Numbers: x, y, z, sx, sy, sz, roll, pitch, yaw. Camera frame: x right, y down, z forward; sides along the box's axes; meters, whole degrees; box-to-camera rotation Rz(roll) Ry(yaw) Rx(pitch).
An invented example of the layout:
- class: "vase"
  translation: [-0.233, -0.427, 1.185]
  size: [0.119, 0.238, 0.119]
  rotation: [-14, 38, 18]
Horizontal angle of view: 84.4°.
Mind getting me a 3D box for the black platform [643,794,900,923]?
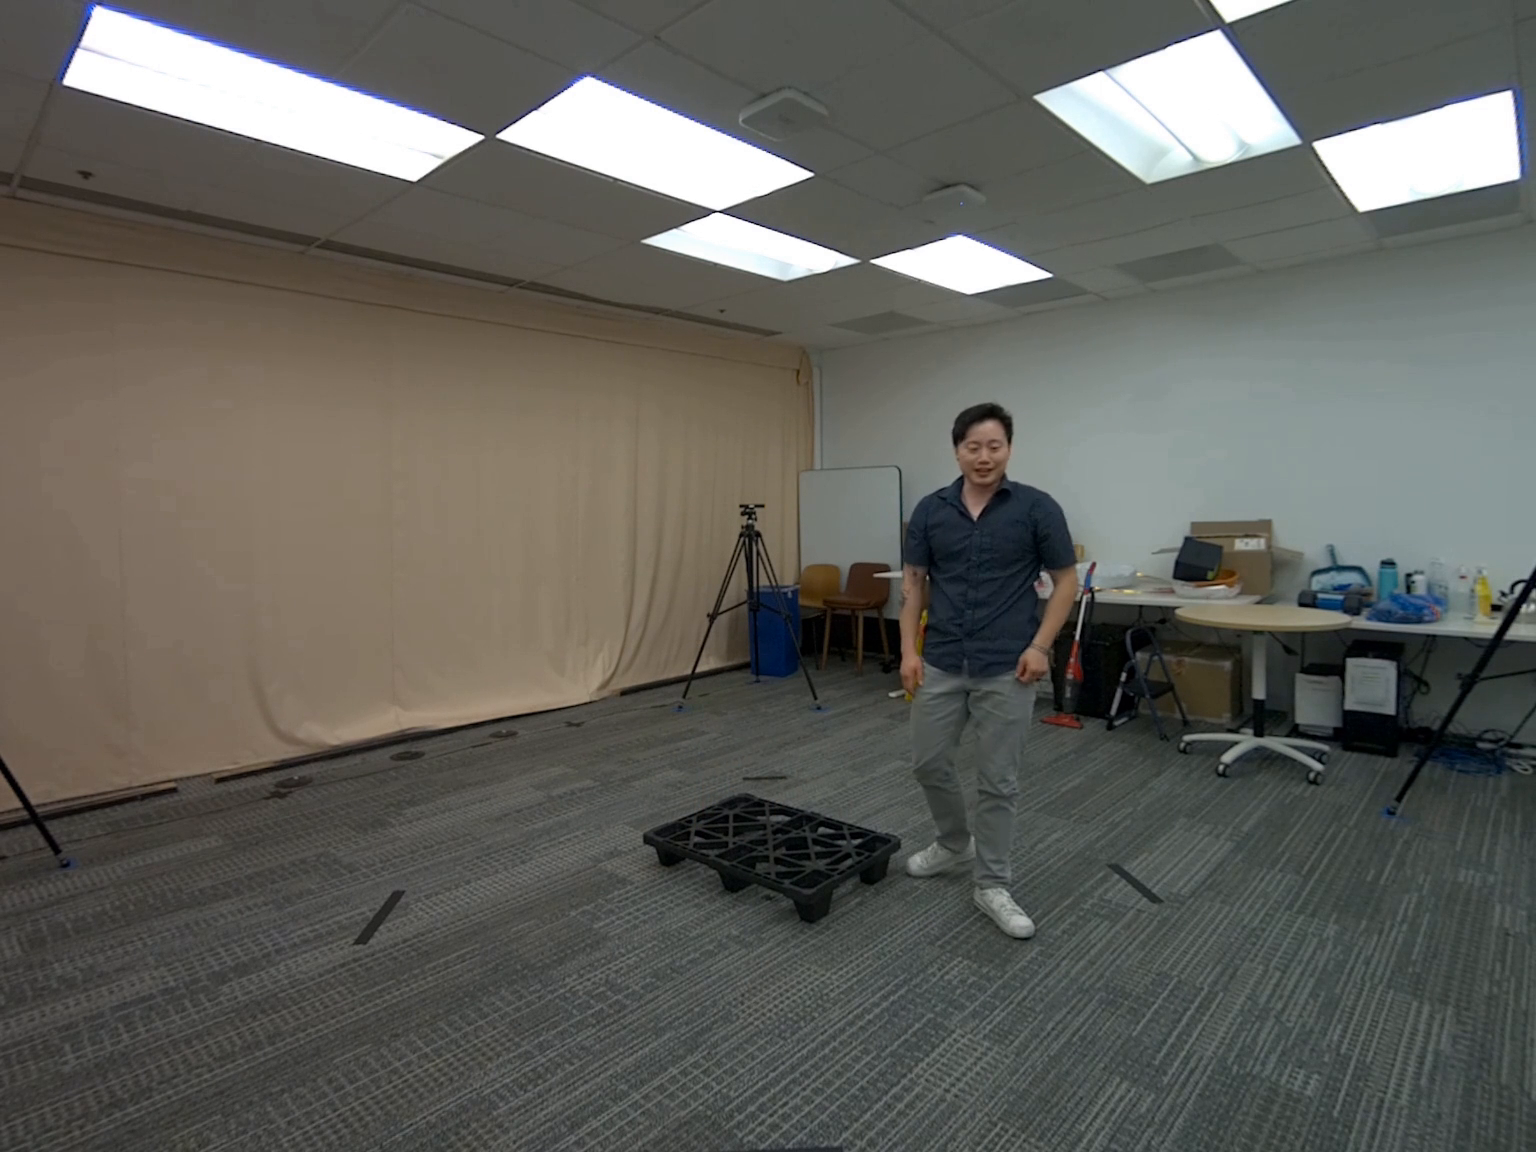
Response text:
- class: "black platform"
  translation: [0.009, 1.053, 3.206]
  size: [0.832, 0.143, 0.587]
  rotation: [3, 6, 41]
